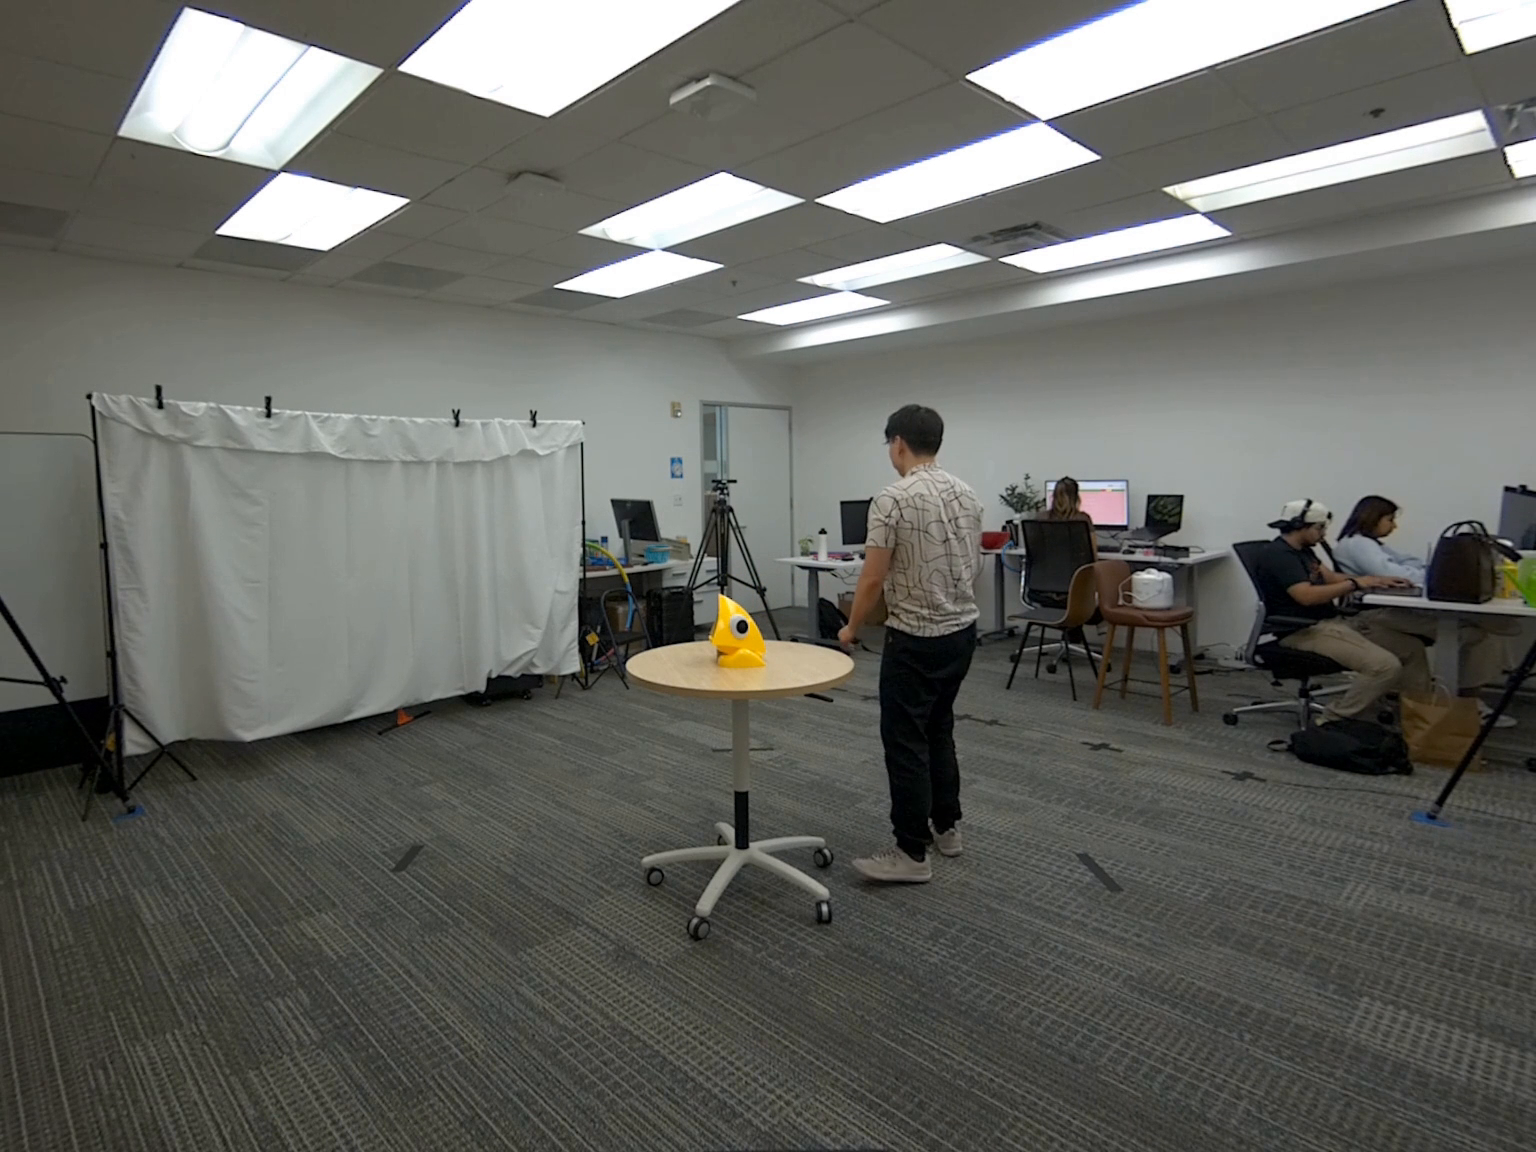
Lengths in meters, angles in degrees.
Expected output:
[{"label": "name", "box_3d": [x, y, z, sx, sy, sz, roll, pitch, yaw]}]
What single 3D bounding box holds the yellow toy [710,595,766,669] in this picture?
[{"label": "yellow toy", "box_3d": [-0.100, 0.177, 2.888, 0.192, 0.230, 0.206, -1, 5, -3]}]
